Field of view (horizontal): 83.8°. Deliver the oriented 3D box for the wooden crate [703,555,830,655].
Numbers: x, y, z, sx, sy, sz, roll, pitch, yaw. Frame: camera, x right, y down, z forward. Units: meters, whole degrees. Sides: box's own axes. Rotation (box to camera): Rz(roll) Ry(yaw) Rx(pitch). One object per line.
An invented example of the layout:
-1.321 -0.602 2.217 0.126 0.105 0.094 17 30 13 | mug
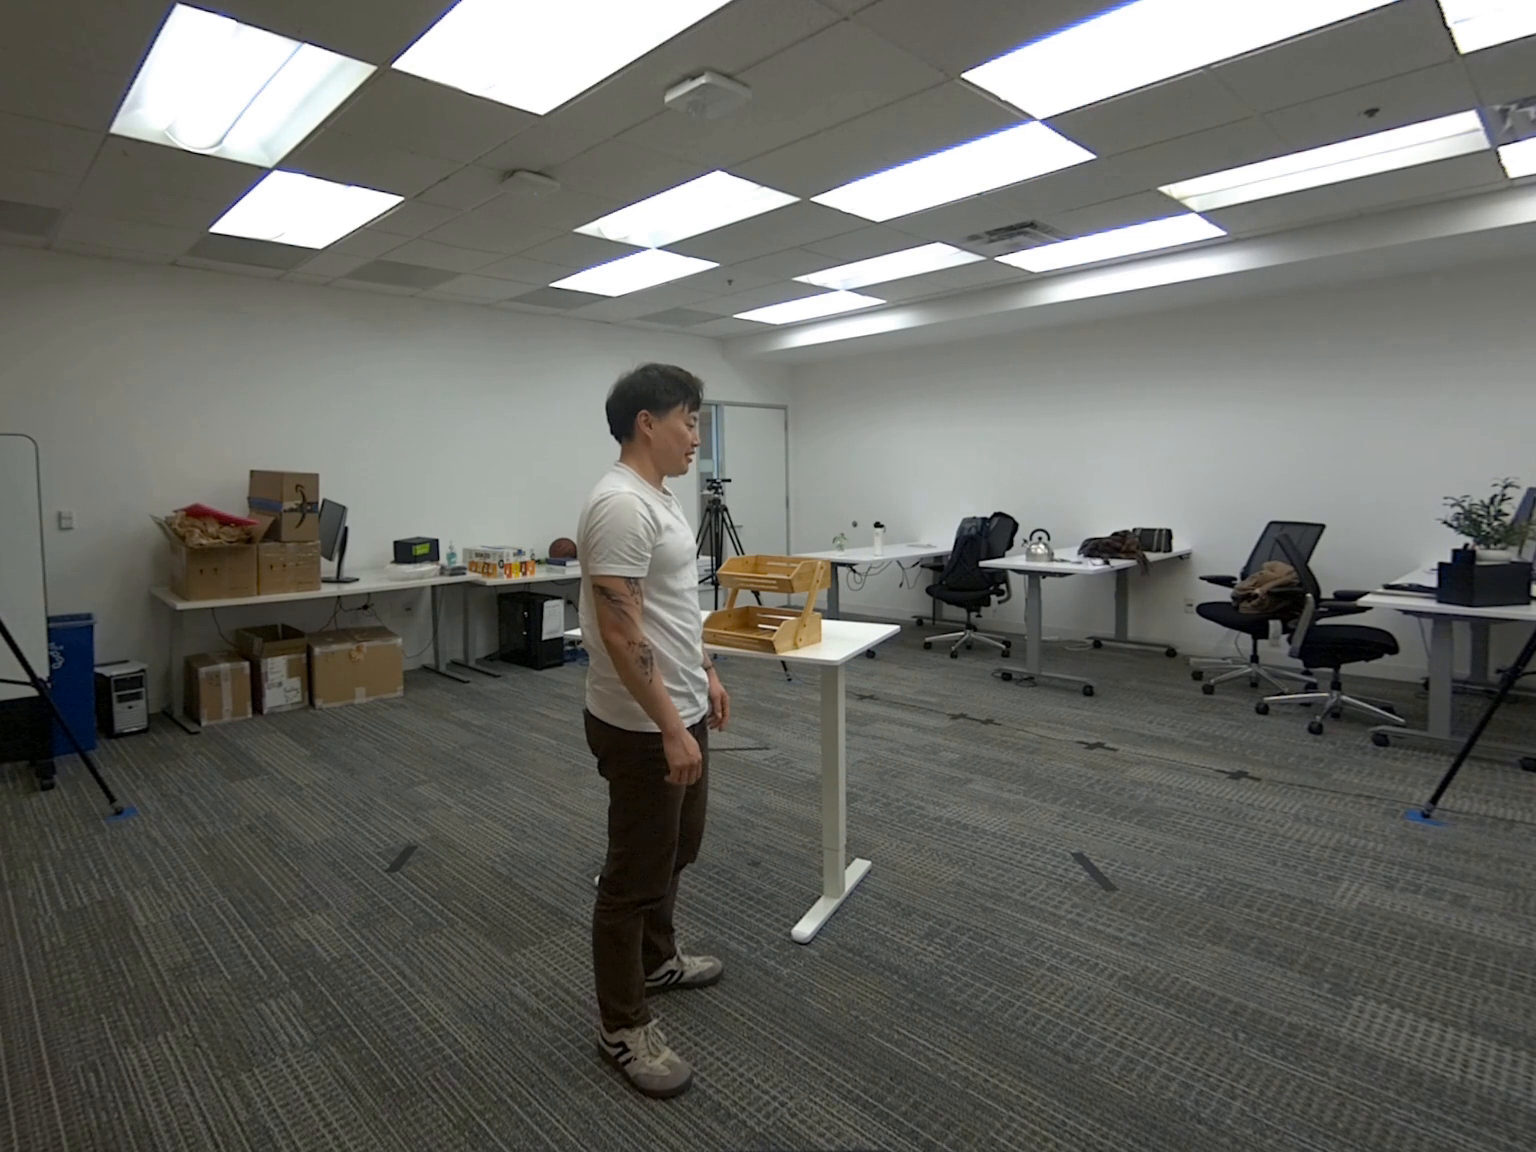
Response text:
-0.010 0.076 2.709 0.334 0.272 0.294 4 7 39 | wooden crate
